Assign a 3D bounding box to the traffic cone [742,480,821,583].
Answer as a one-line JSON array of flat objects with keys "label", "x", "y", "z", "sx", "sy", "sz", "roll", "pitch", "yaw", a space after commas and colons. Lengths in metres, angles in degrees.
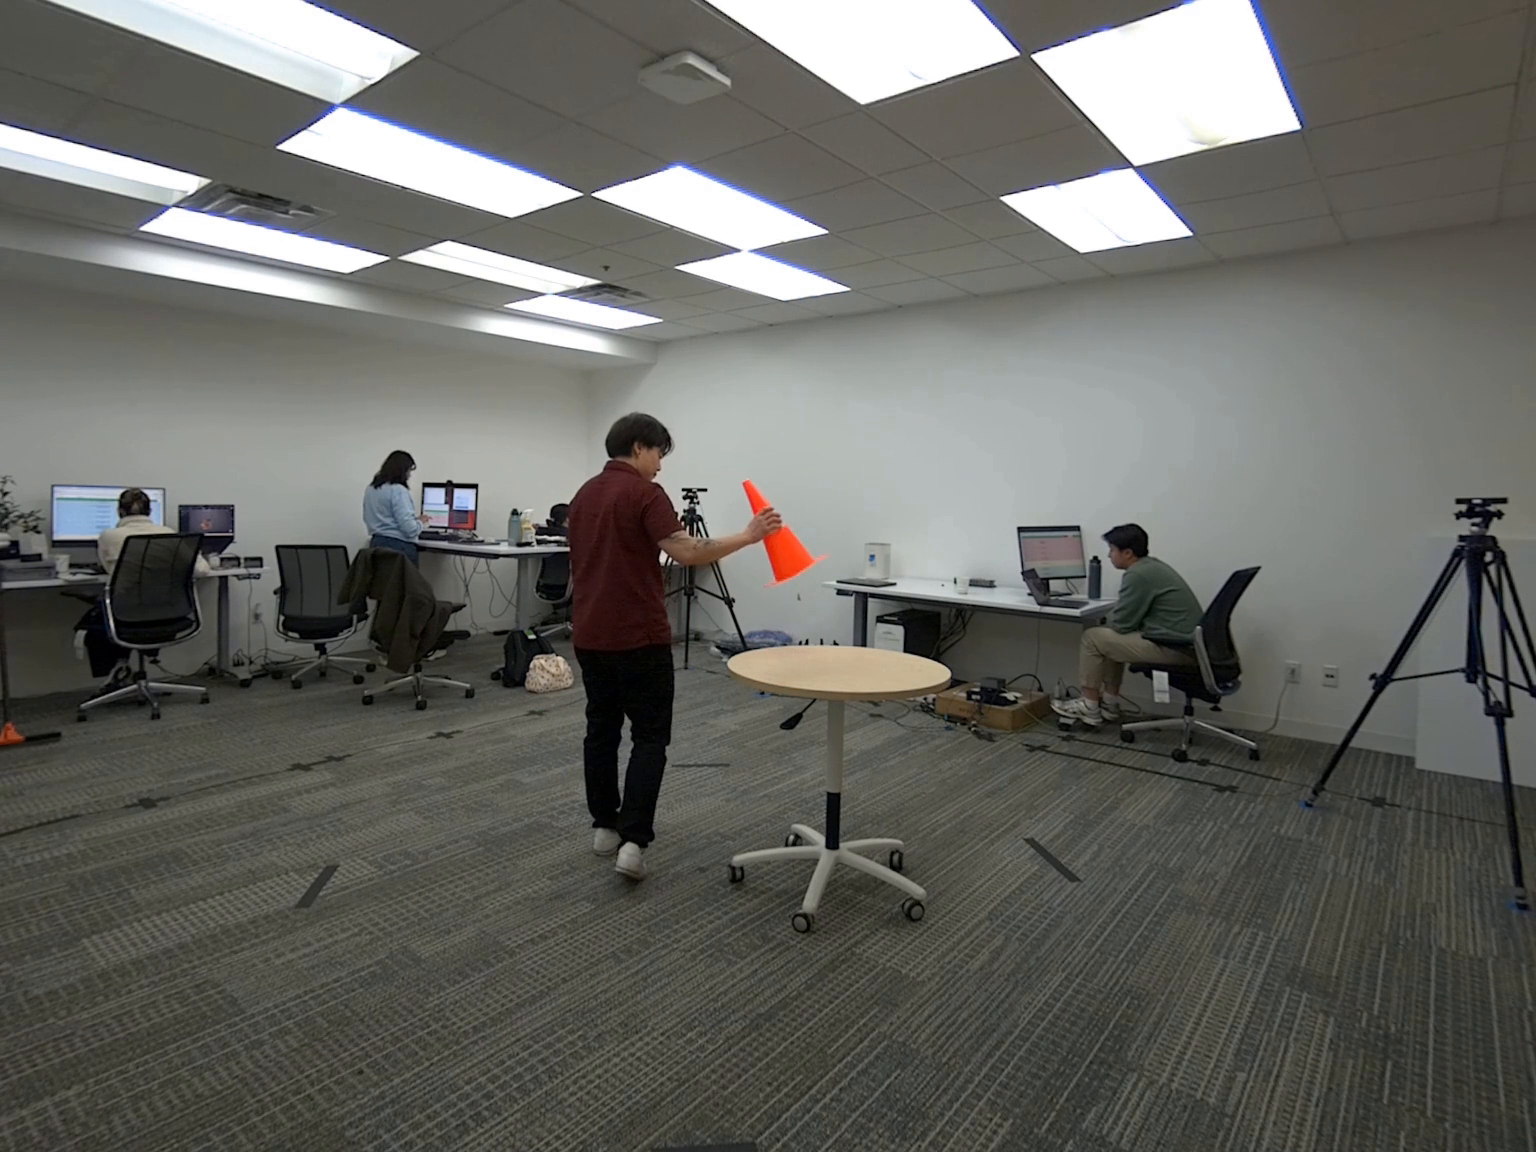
[{"label": "traffic cone", "x": -0.003, "y": -0.174, "z": 3.117, "sx": 0.206, "sy": 0.383, "sz": 0.202, "roll": -28, "pitch": 3, "yaw": 43}]
